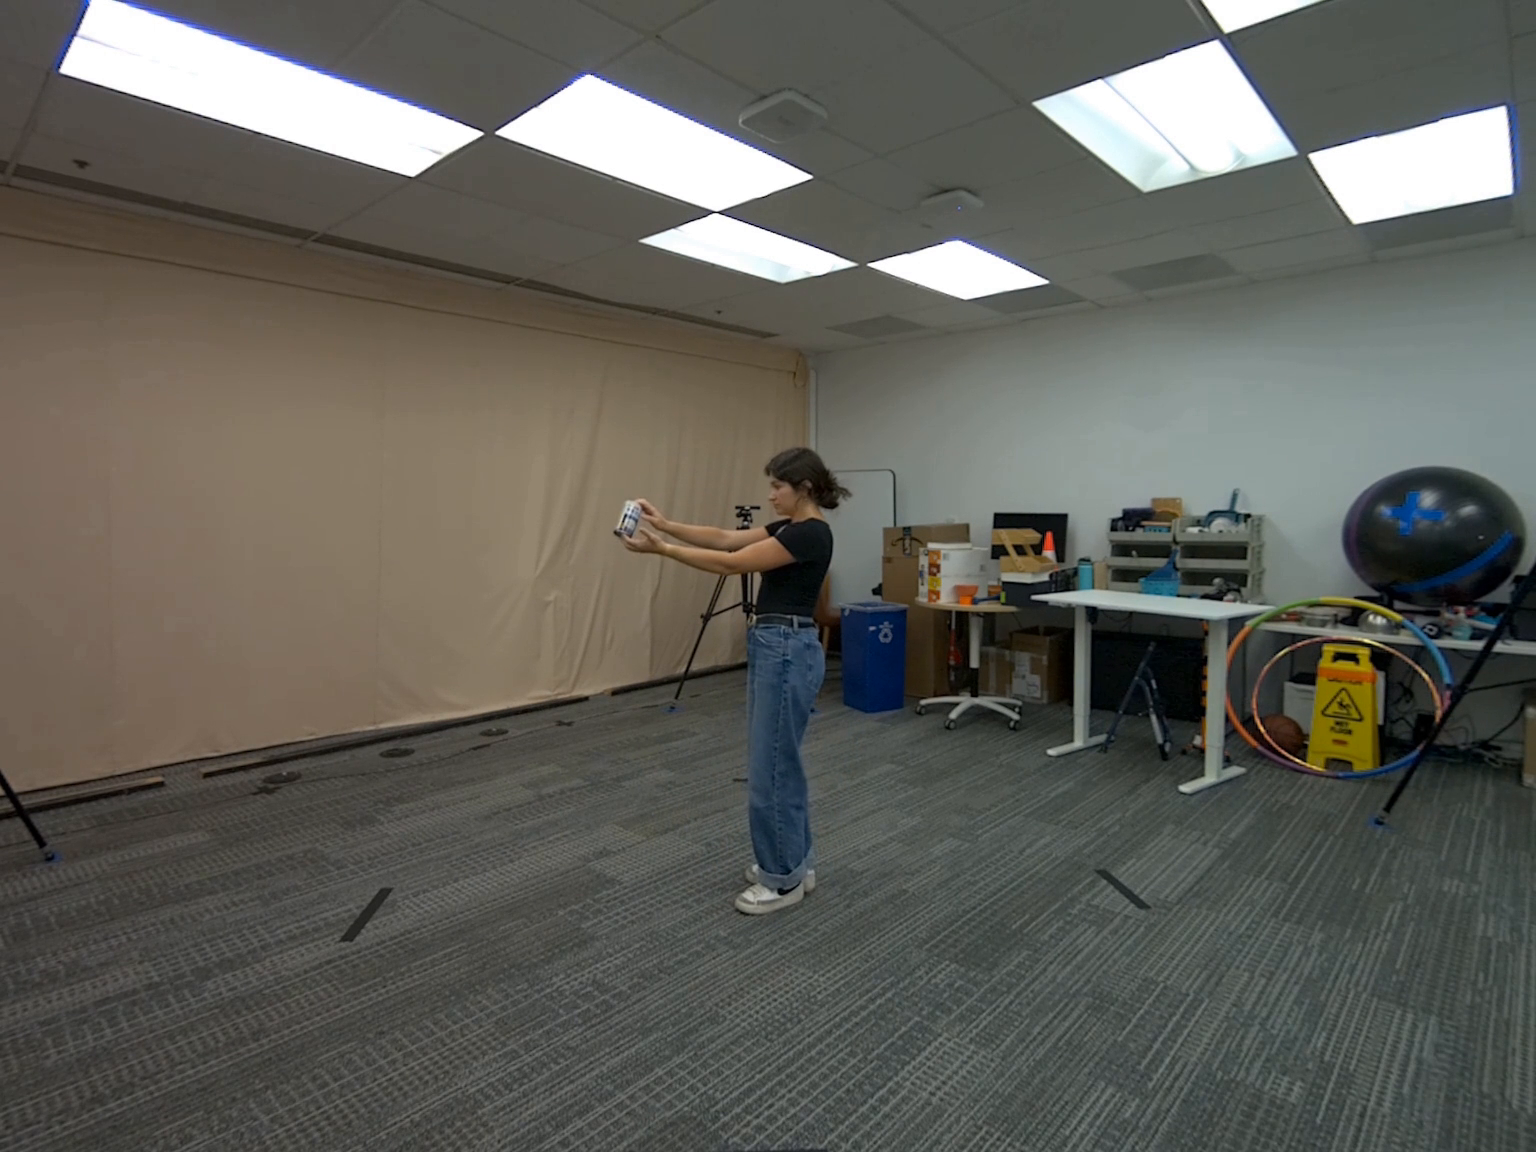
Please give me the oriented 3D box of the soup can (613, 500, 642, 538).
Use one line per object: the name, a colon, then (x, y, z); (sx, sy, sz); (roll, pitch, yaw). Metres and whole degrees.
soup can: (-0.474, -0.190, 2.871); (0.067, 0.122, 0.066); (13, -19, 2)
